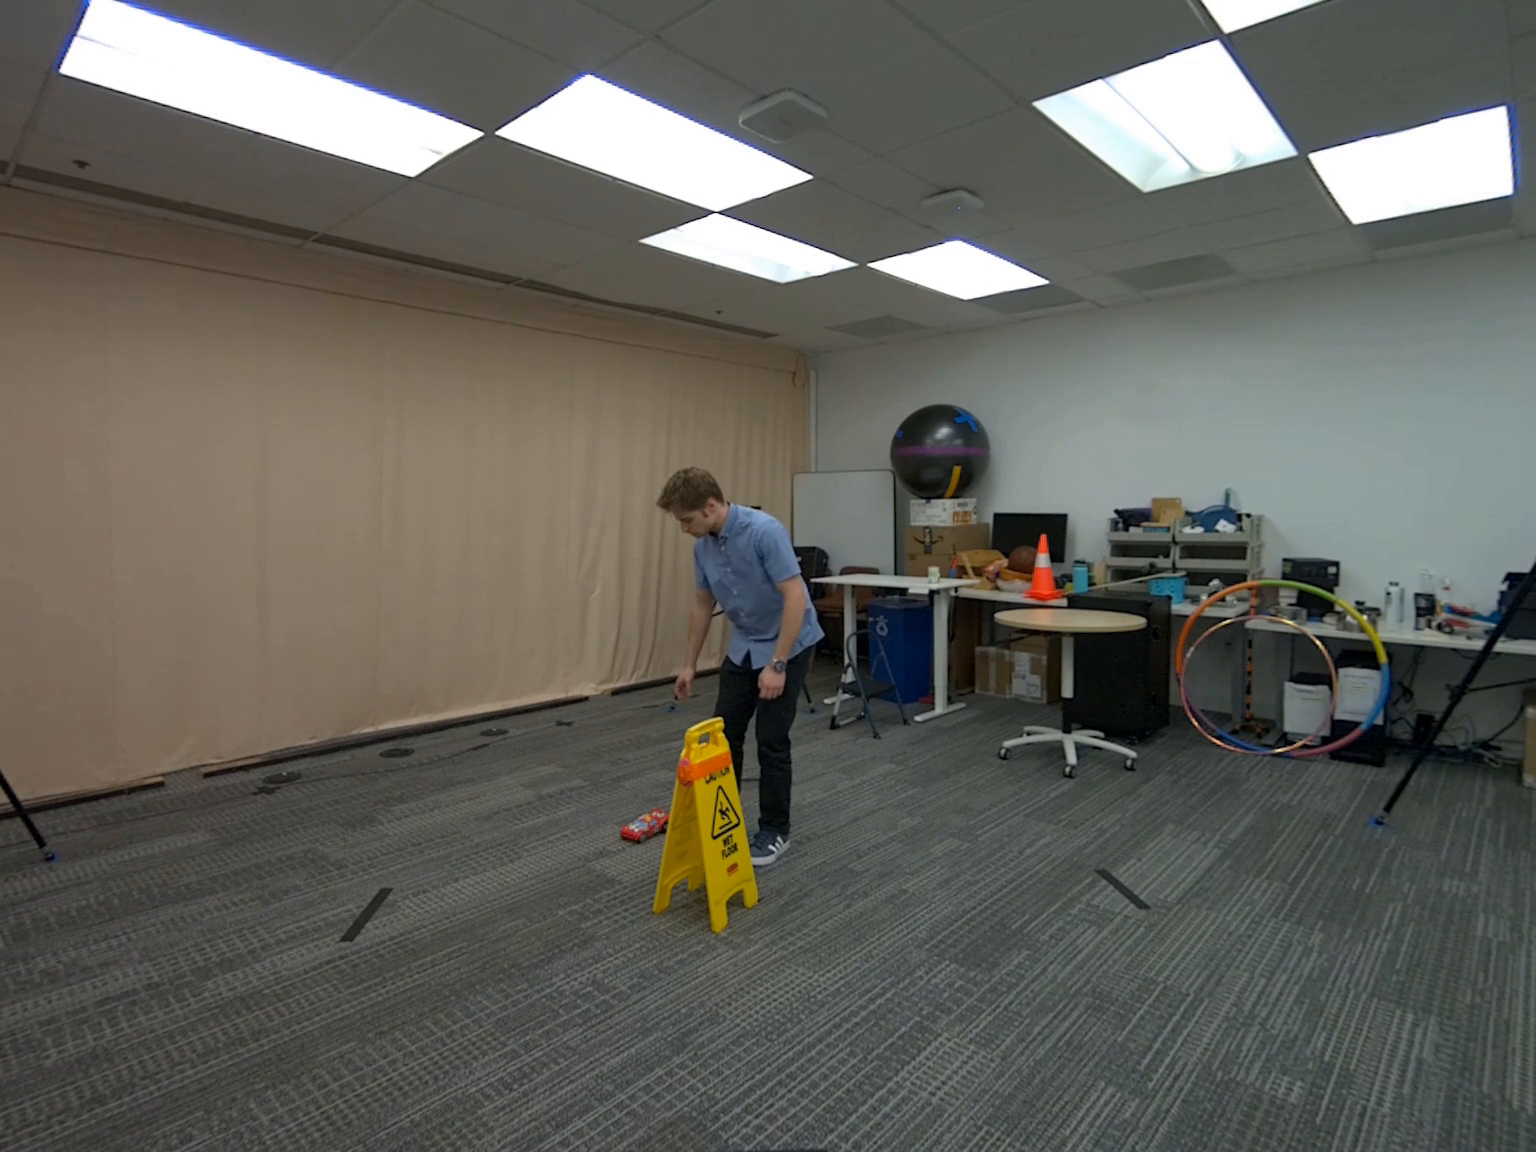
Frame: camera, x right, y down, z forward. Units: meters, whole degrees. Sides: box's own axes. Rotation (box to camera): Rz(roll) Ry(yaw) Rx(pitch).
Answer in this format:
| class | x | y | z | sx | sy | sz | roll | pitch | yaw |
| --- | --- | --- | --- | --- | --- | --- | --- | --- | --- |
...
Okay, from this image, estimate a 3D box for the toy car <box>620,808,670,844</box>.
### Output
| class | x | y | z | sx | sy | sz | roll | pitch | yaw |
| --- | --- | --- | --- | --- | --- | --- | --- | --- | --- |
| toy car | -0.511 | 1.070 | 3.596 | 0.134 | 0.082 | 0.249 | 2 | 16 | 36 |
